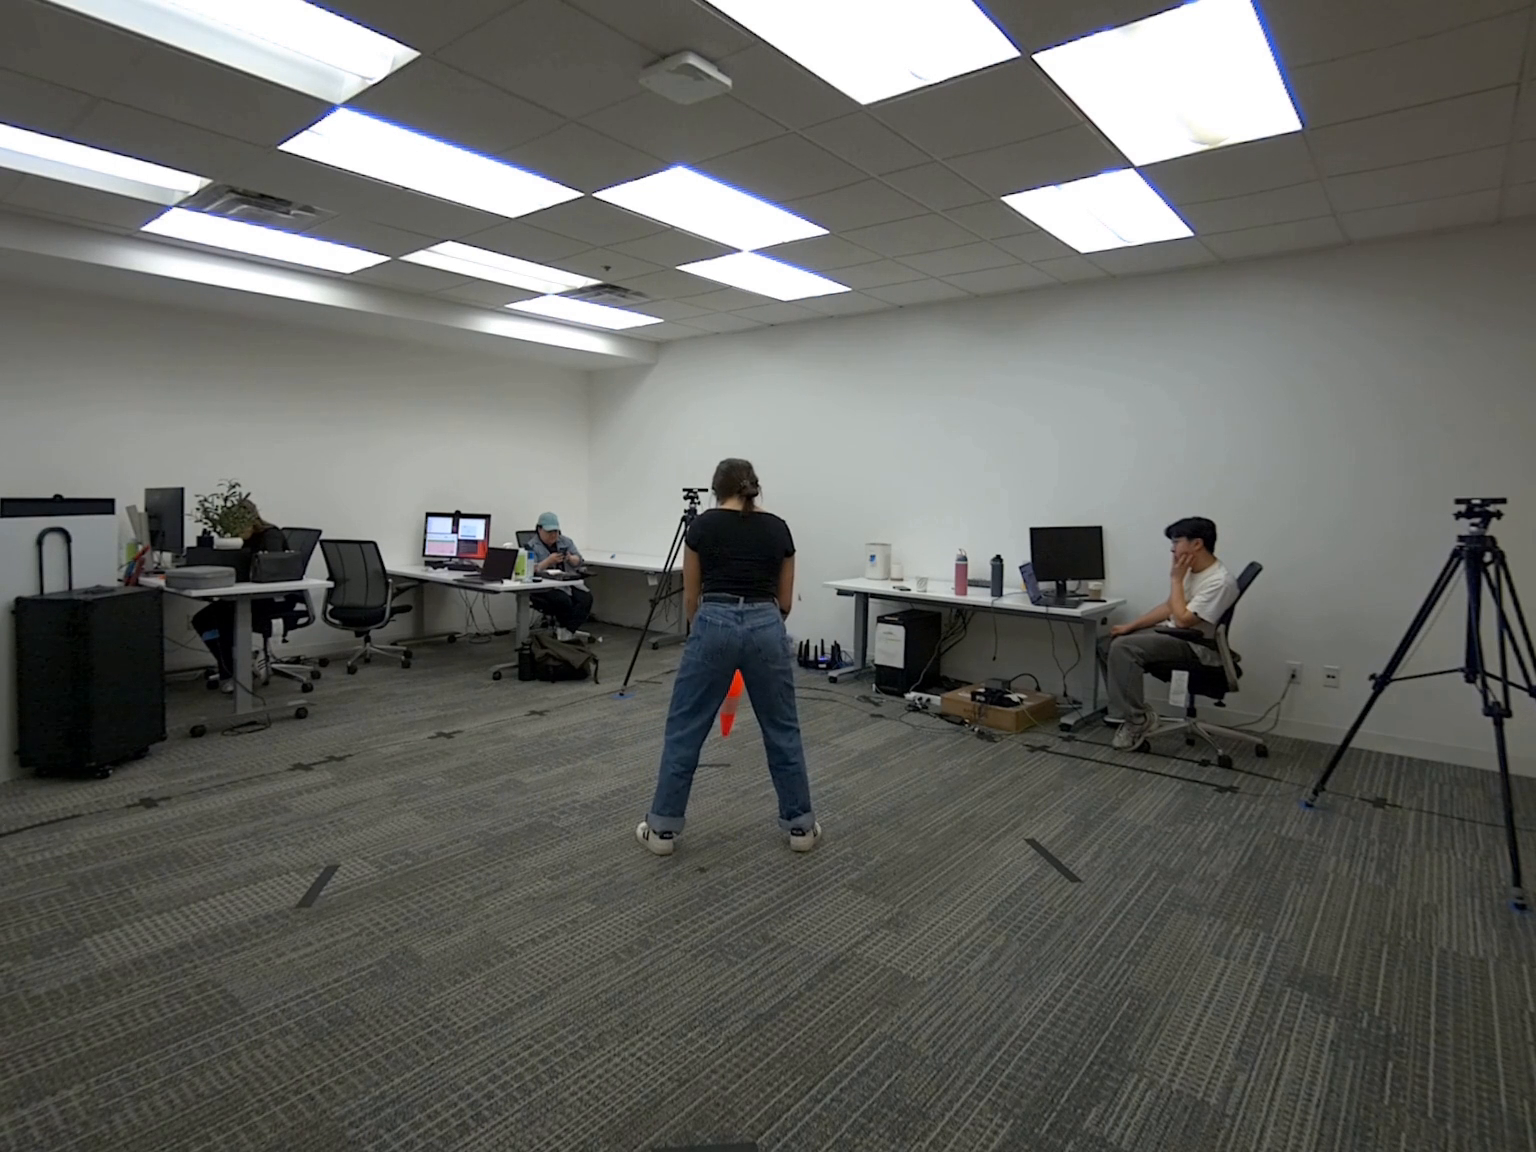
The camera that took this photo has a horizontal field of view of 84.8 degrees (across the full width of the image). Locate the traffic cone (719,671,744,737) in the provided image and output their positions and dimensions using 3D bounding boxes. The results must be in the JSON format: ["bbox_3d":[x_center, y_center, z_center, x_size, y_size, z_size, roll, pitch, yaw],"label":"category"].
[{"bbox_3d":[-0.163,0.504,3.588,0.204,0.377,0.207,9,21,3],"label":"traffic cone"}]
